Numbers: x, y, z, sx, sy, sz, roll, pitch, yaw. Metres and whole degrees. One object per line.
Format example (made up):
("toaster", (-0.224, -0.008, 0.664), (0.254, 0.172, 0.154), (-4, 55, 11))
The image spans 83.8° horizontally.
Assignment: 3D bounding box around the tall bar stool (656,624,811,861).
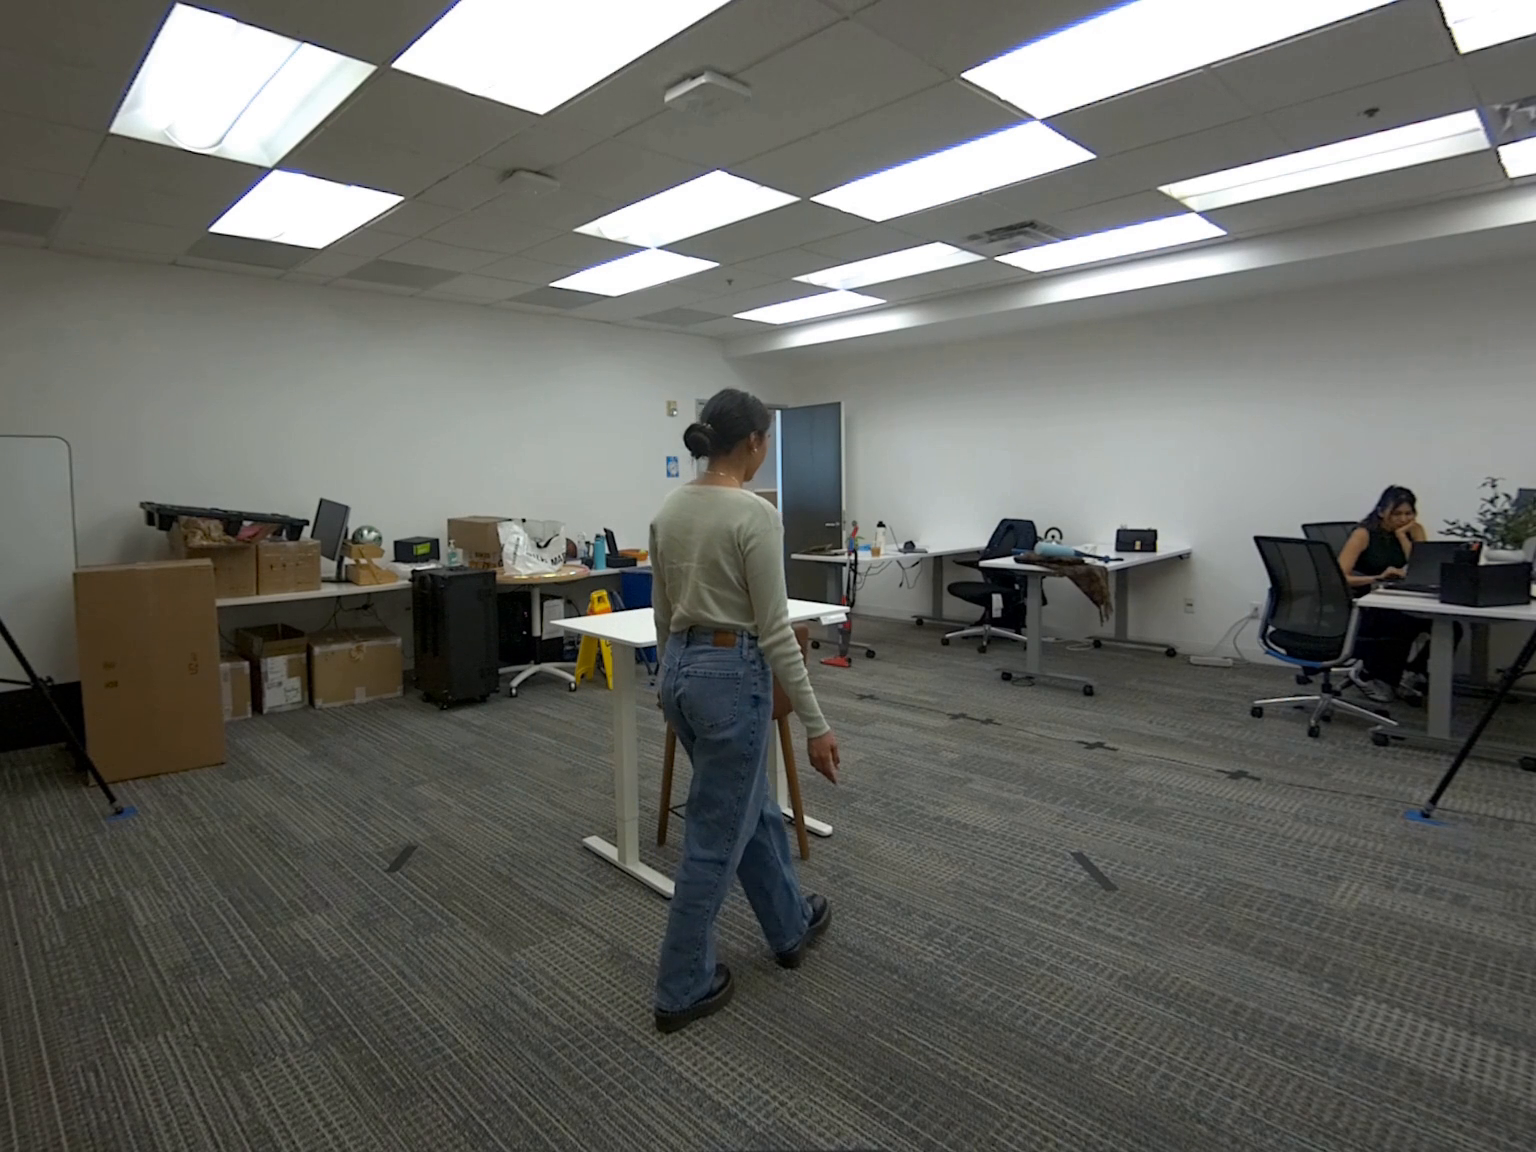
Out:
("tall bar stool", (-0.131, 0.604, 3.177), (0.444, 0.885, 0.482), (-3, 7, -37))
